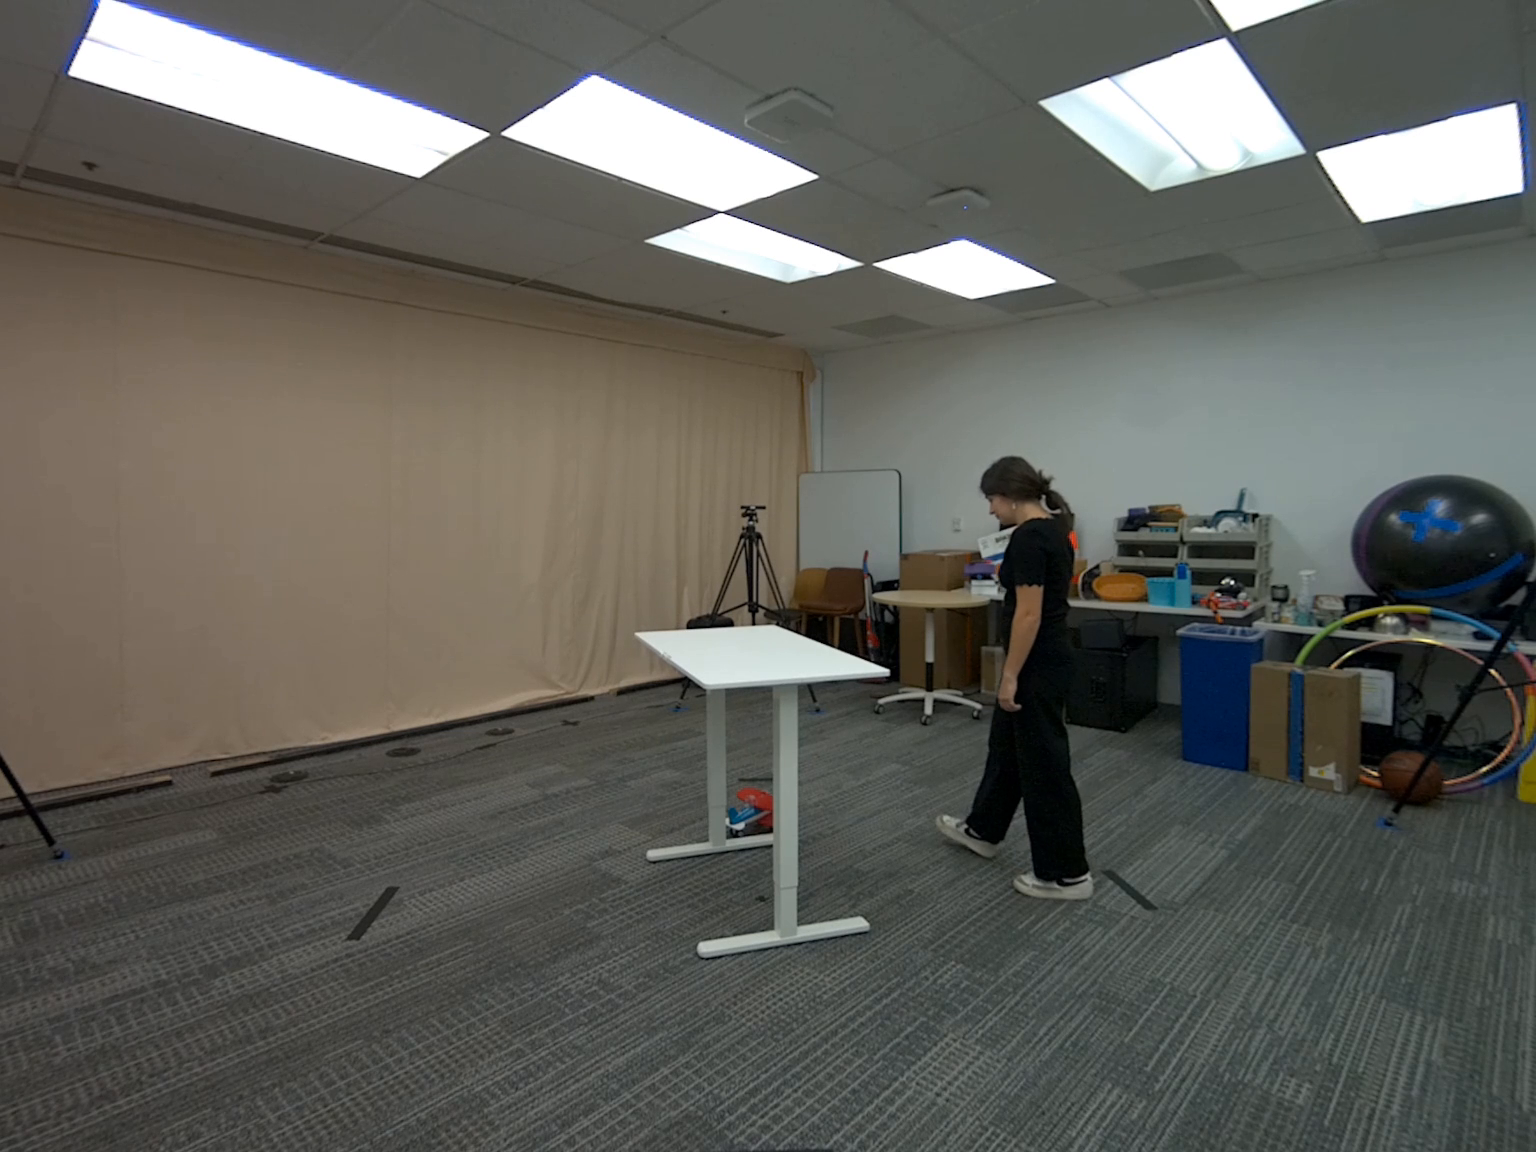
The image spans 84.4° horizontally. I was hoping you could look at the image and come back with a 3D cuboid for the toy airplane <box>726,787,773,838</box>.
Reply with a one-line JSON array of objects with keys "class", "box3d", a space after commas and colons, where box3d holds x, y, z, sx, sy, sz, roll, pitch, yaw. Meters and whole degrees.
[{"class": "toy airplane", "box3d": [-0.048, 1.020, 3.577, 0.257, 0.156, 0.253, 2, 3, 24]}]
